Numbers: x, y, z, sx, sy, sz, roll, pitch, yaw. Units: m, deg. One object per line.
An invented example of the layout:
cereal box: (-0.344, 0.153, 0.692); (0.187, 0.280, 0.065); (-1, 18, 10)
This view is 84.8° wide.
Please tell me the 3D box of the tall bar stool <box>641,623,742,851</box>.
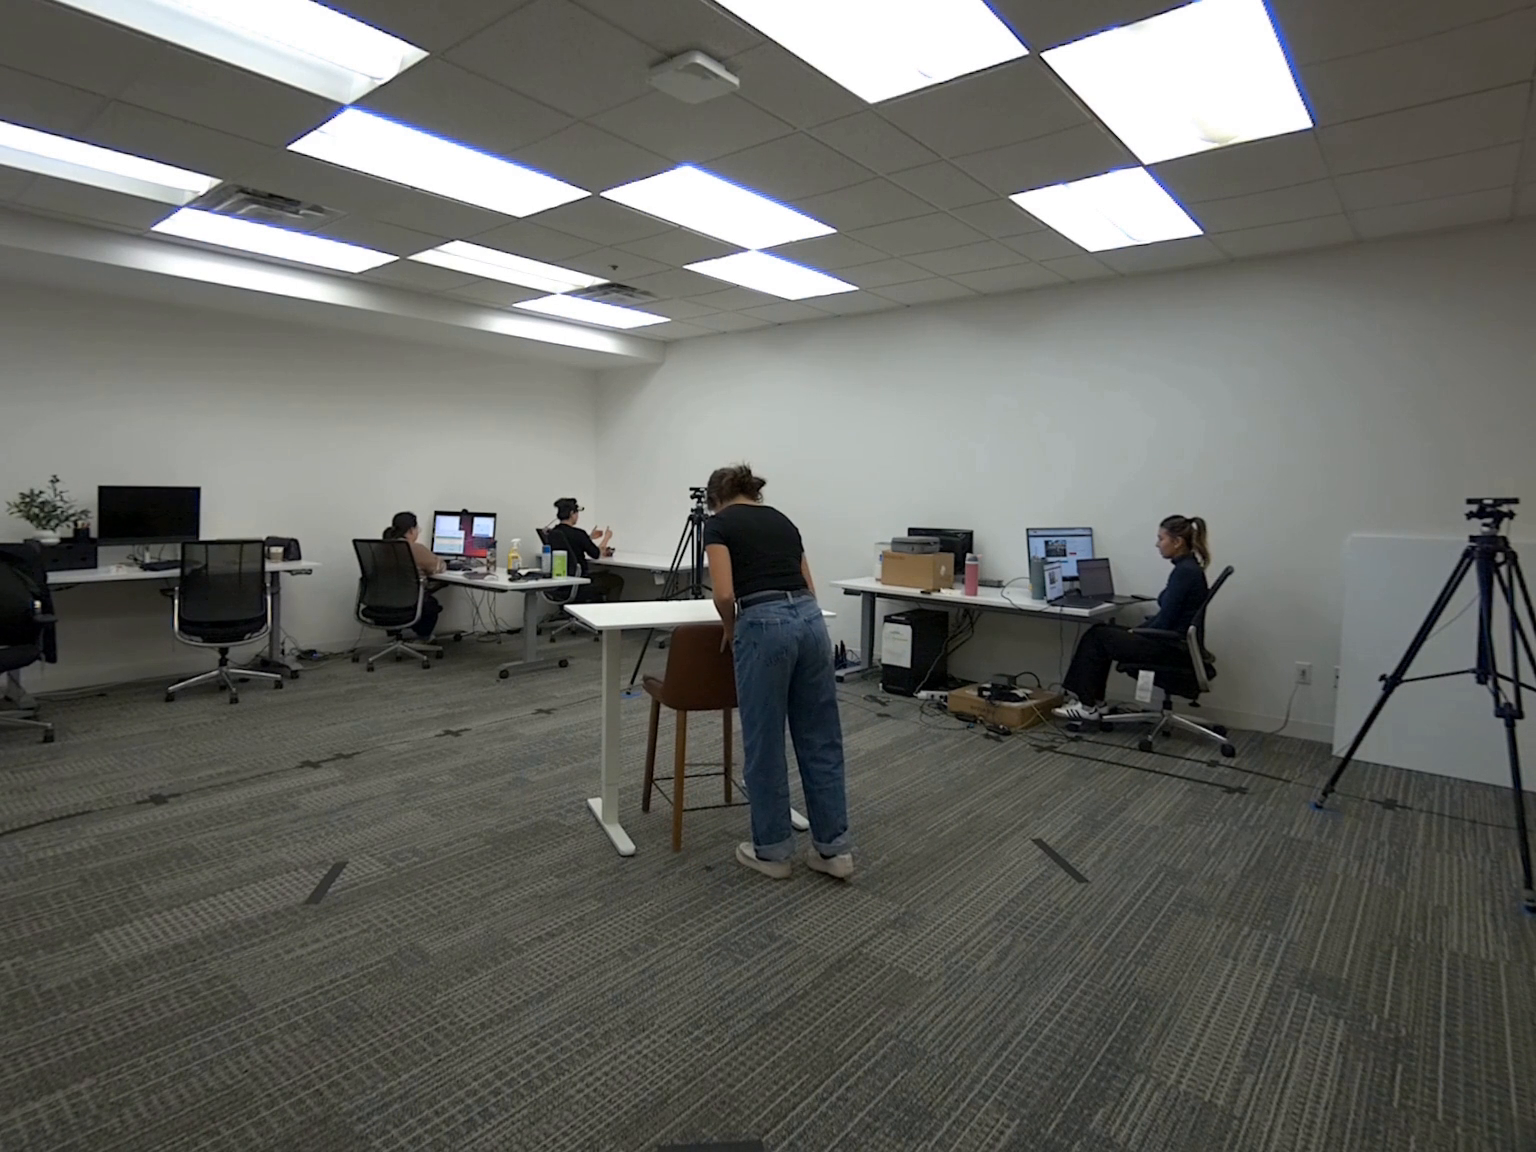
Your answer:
tall bar stool: (-0.270, 0.597, 3.486); (0.447, 0.886, 0.479); (0, 5, -21)
